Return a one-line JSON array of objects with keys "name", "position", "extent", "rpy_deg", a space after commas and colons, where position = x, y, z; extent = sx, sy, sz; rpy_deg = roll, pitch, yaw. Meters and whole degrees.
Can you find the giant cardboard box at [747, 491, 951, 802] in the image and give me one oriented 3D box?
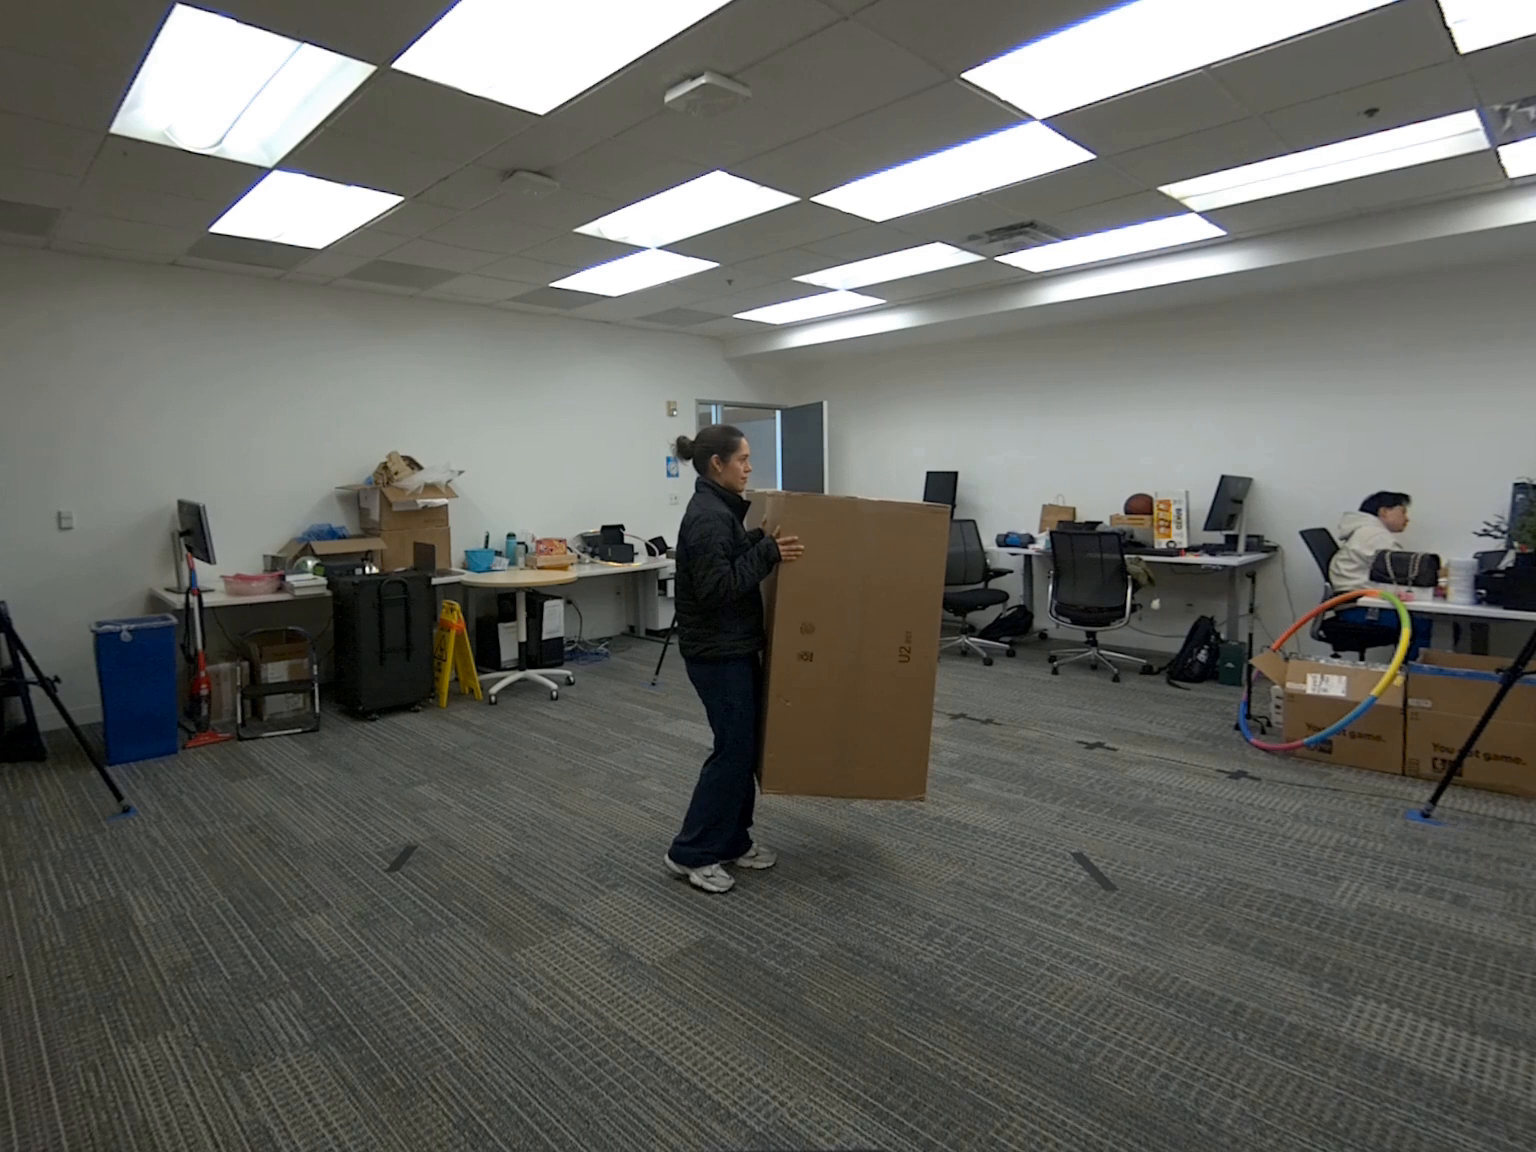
[{"name": "giant cardboard box", "position": [0.270, 0.229, 3.085], "extent": [0.575, 1.023, 0.429], "rpy_deg": [4, 4, -5]}]
